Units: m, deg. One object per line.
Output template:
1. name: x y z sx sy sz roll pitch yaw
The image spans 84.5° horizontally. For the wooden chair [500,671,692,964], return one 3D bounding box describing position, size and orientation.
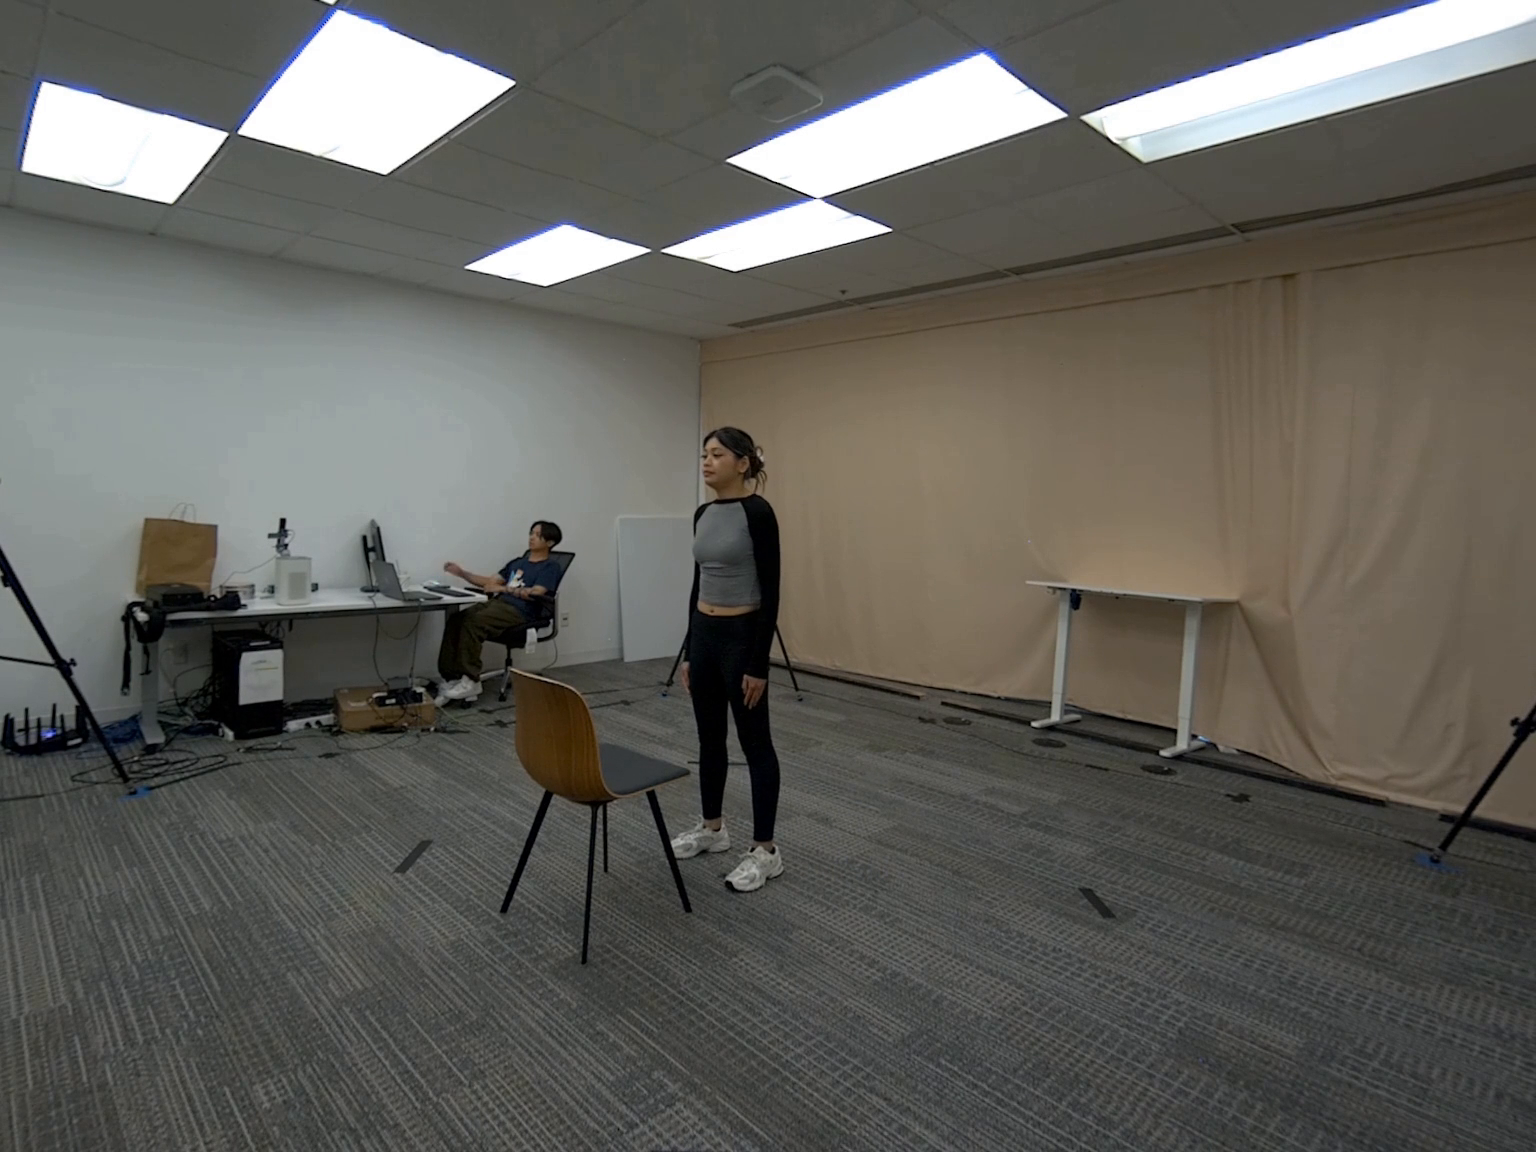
1. wooden chair: -0.559 0.699 2.784 0.490 0.873 0.513 4 9 41
